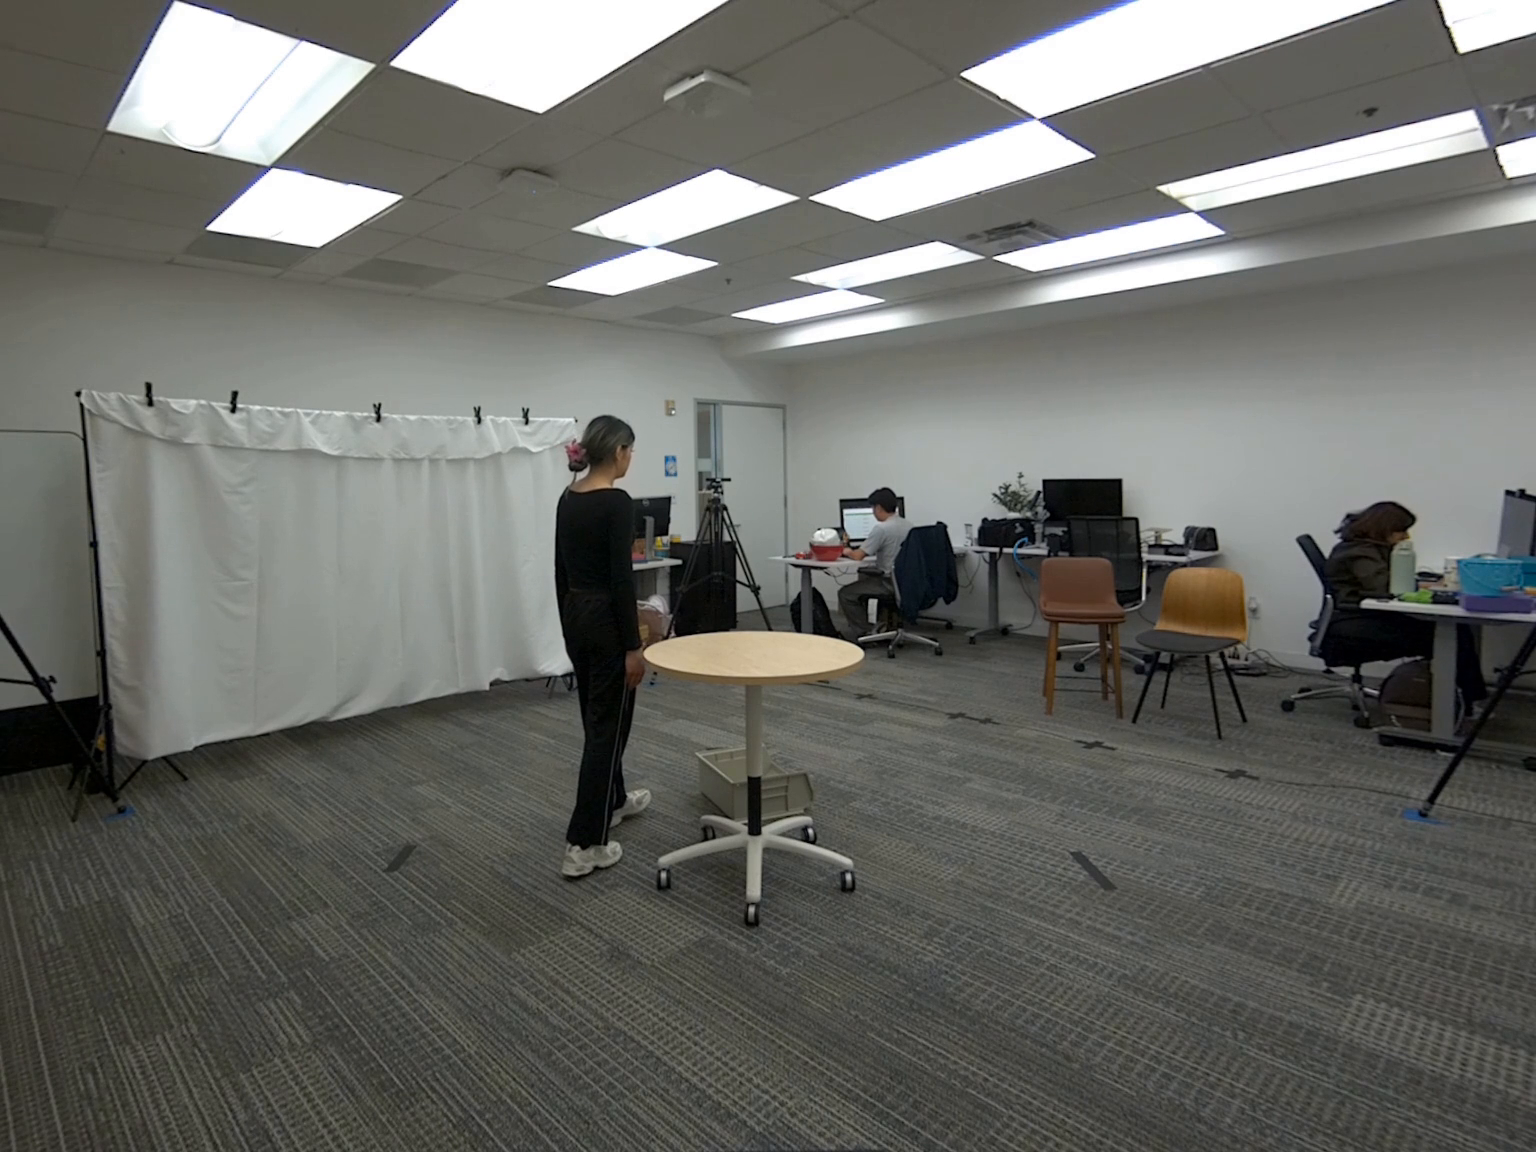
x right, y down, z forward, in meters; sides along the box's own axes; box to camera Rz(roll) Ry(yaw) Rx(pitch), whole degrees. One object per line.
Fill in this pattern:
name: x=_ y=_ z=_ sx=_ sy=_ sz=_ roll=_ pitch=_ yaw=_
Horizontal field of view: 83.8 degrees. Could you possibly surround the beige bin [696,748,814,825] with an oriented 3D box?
beige bin: x=-0.062 y=0.887 z=3.696 sx=0.370 sy=0.188 sz=0.433 roll=-4 pitch=8 yaw=-24
